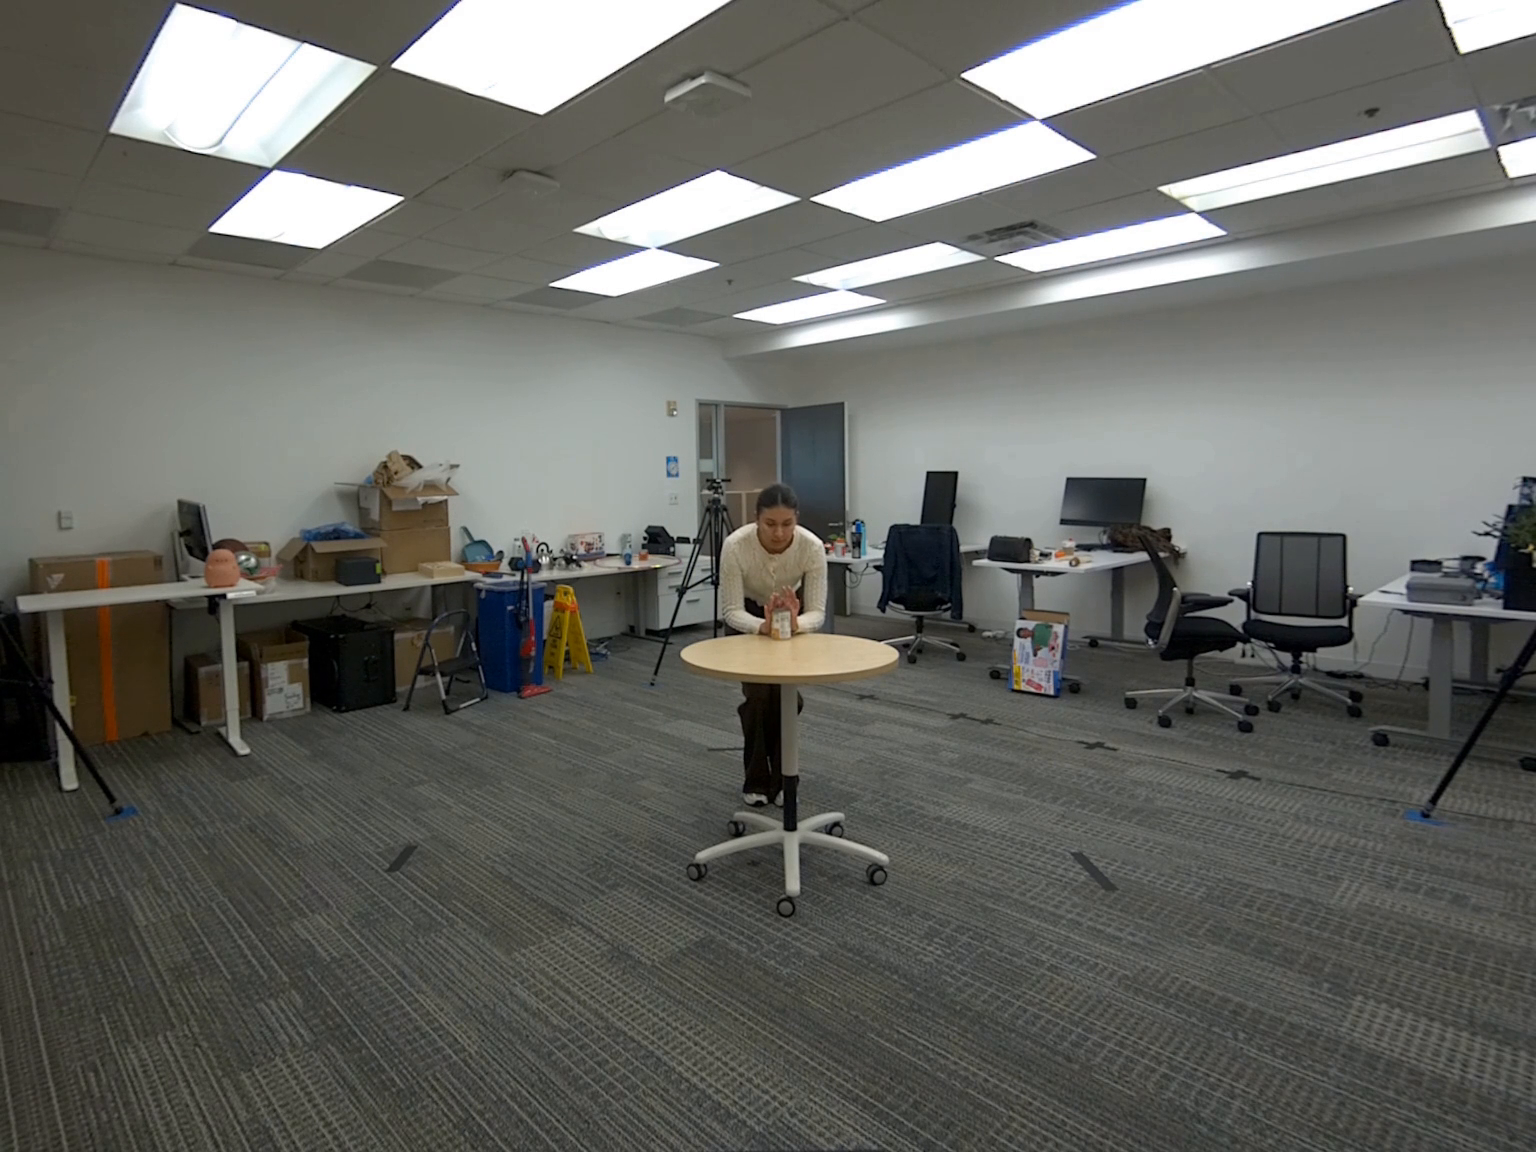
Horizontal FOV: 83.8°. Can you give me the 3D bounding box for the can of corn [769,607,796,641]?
[{"bbox_3d":[0.048,0.189,3.275,0.074,0.111,0.074,2,3,-2],"label":"can of corn"}]
